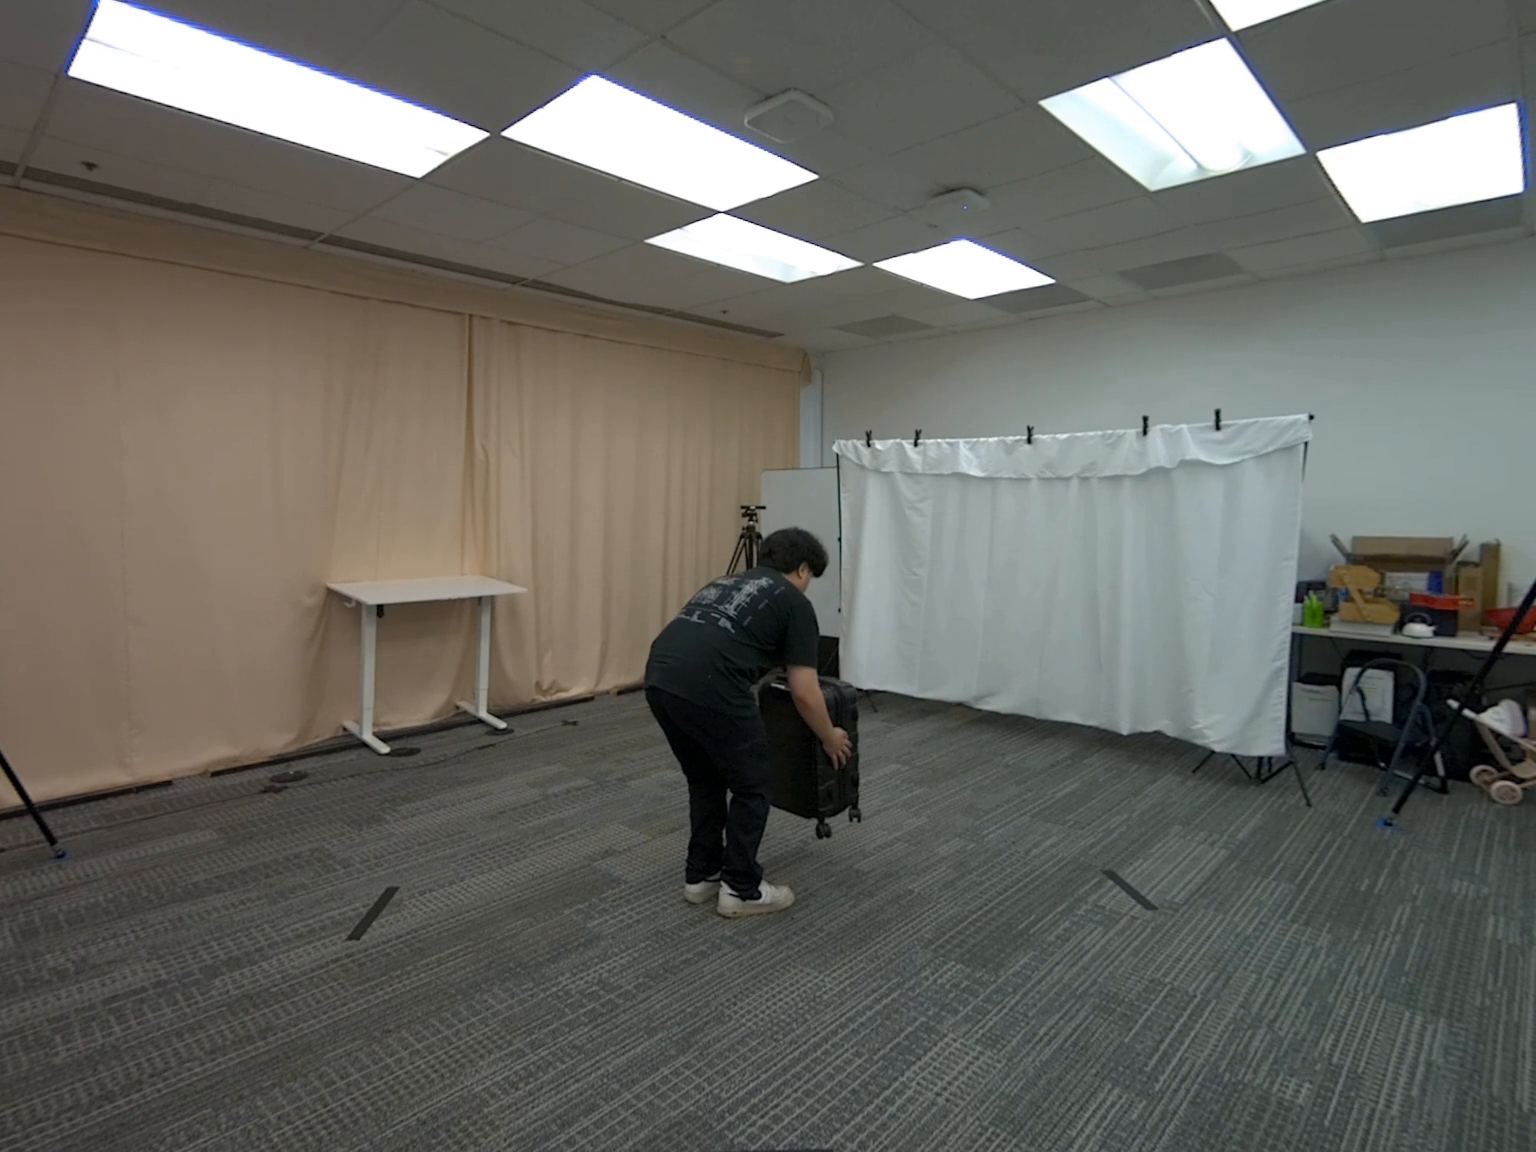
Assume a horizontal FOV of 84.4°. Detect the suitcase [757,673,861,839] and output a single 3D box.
[{"bbox_3d":[0.159,0.660,3.252,0.241,0.548,0.388,-4,5,-45],"label":"suitcase"}]
